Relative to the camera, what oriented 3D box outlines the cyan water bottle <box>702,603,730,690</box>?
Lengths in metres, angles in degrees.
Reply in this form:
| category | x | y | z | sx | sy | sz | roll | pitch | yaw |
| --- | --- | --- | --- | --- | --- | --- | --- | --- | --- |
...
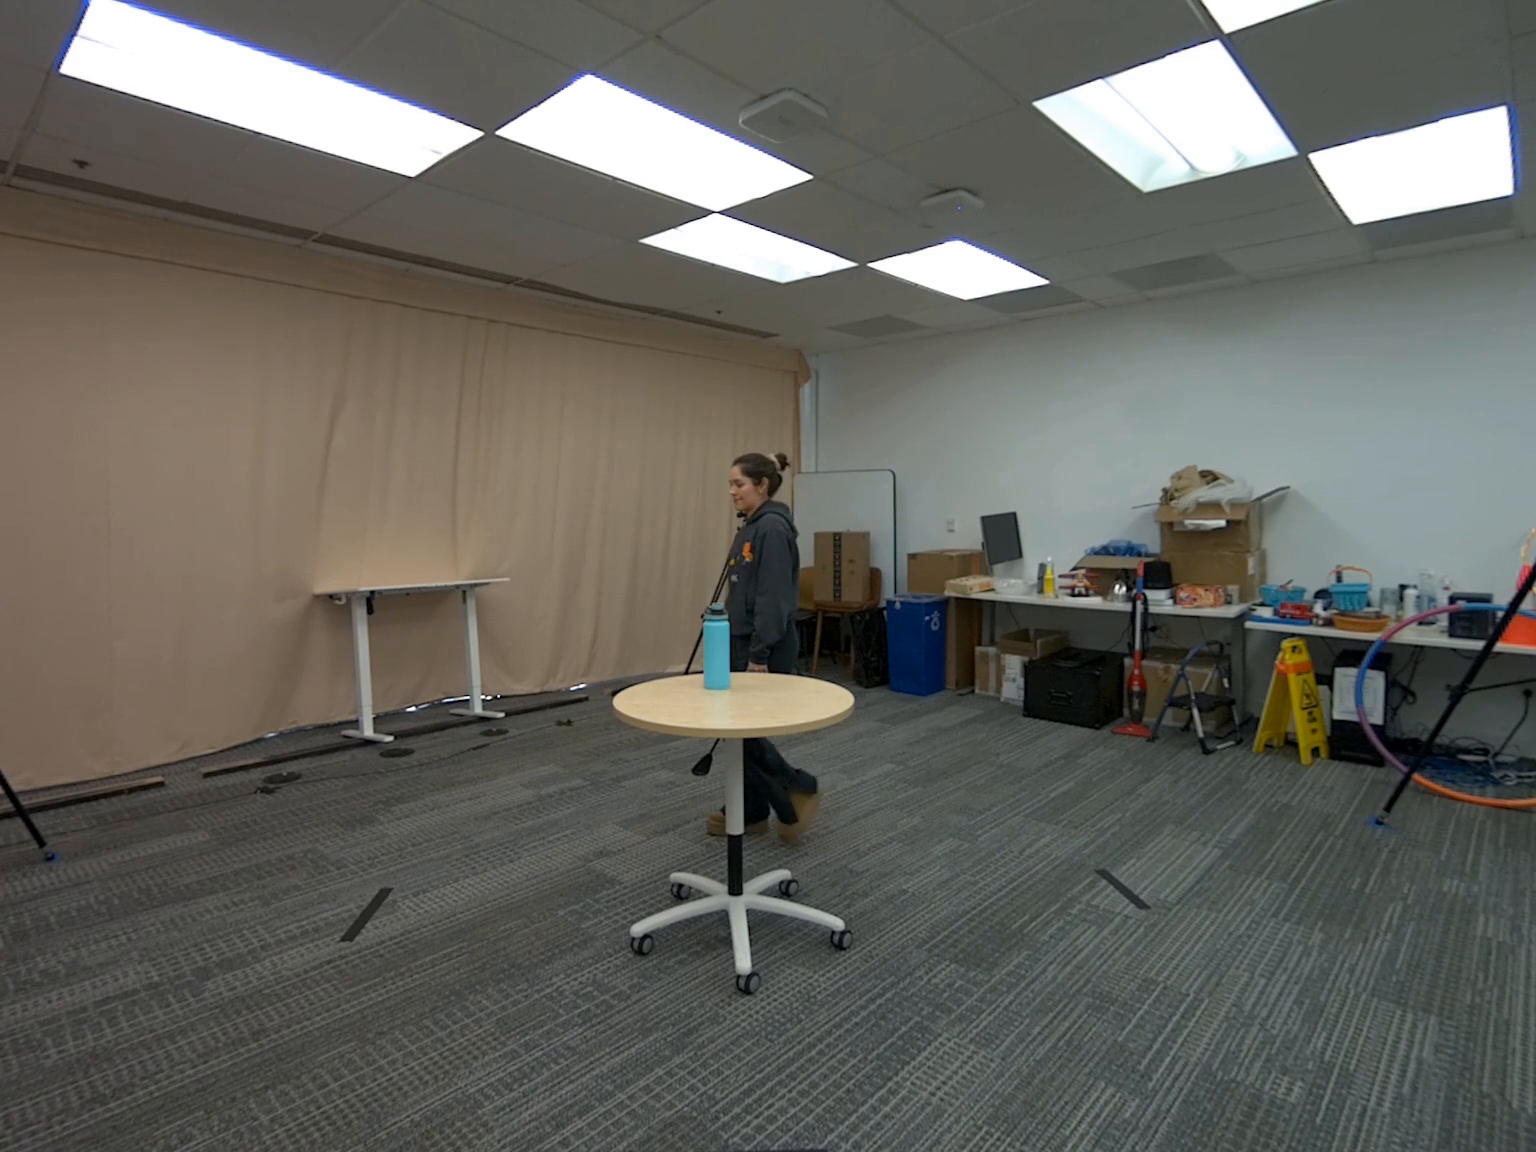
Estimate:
| category | x | y | z | sx | sy | sz | roll | pitch | yaw |
| --- | --- | --- | --- | --- | --- | --- | --- | --- | --- |
| cyan water bottle | -0.167 | 0.235 | 2.833 | 0.092 | 0.283 | 0.092 | -1 | 1 | -2 |
